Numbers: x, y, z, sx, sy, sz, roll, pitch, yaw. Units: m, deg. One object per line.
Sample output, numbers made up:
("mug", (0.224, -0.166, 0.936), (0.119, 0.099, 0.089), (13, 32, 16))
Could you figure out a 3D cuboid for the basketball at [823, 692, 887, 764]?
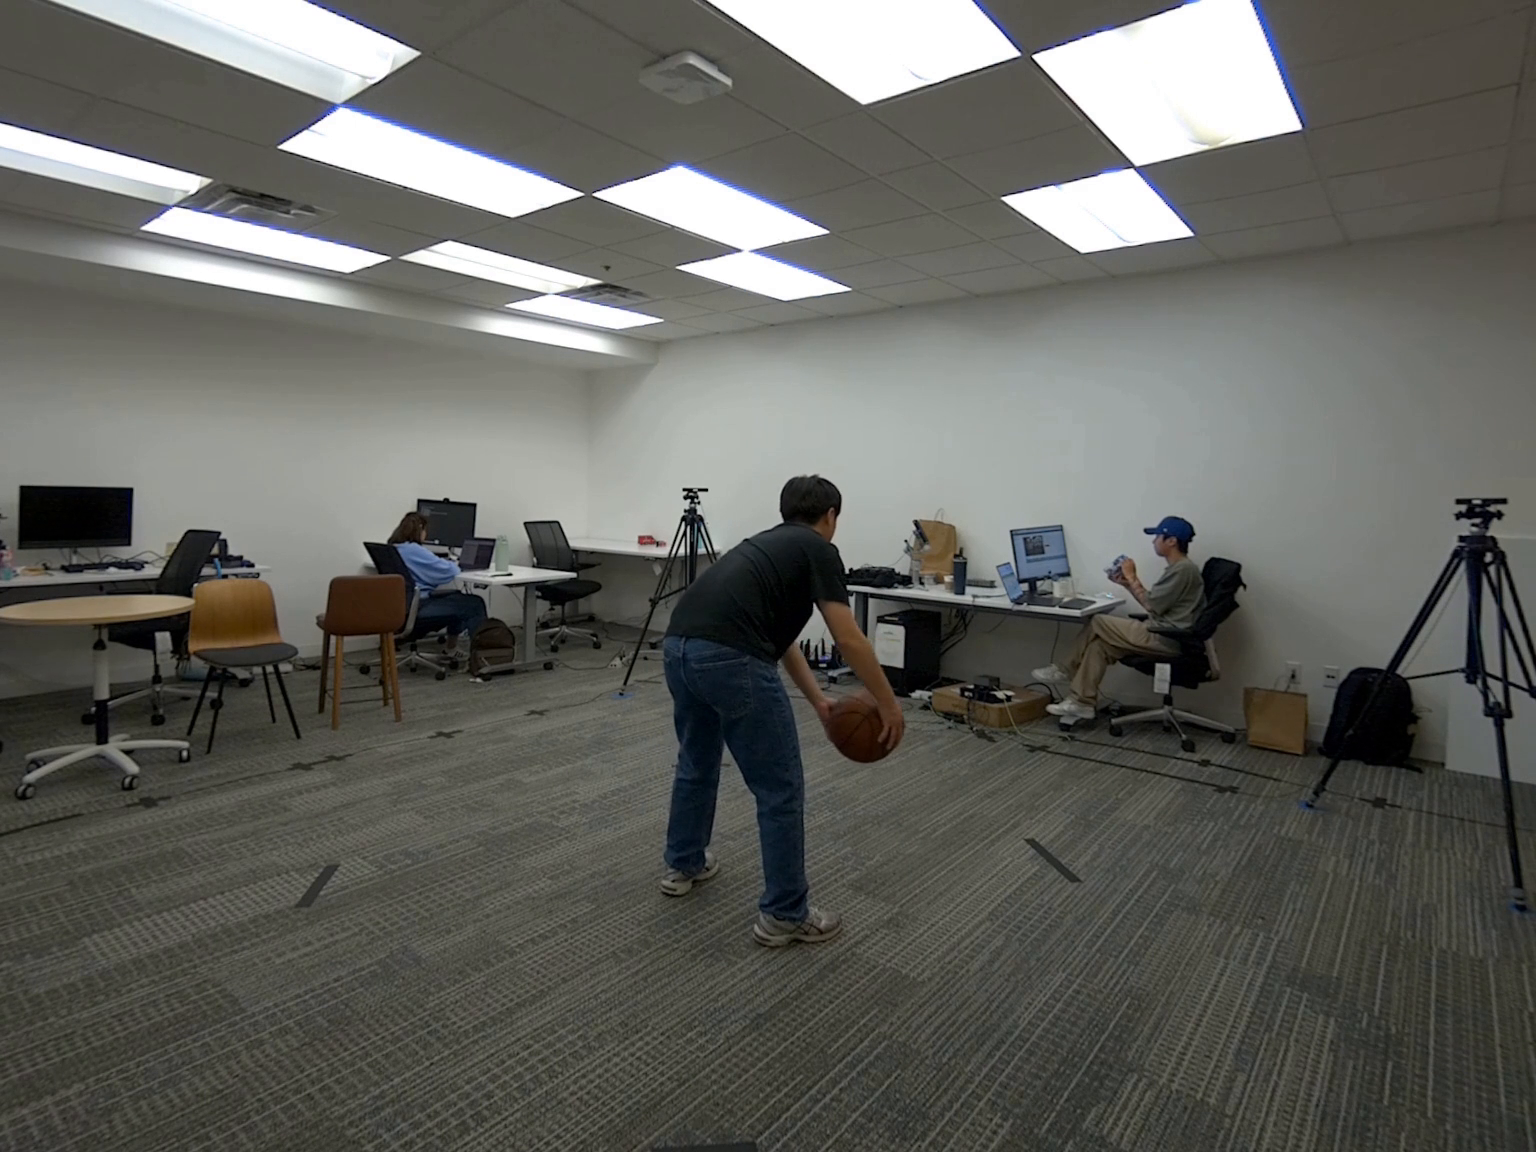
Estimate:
("basketball", (0.313, 0.492, 2.833), (0.235, 0.235, 0.237), (1, 4, -2))
